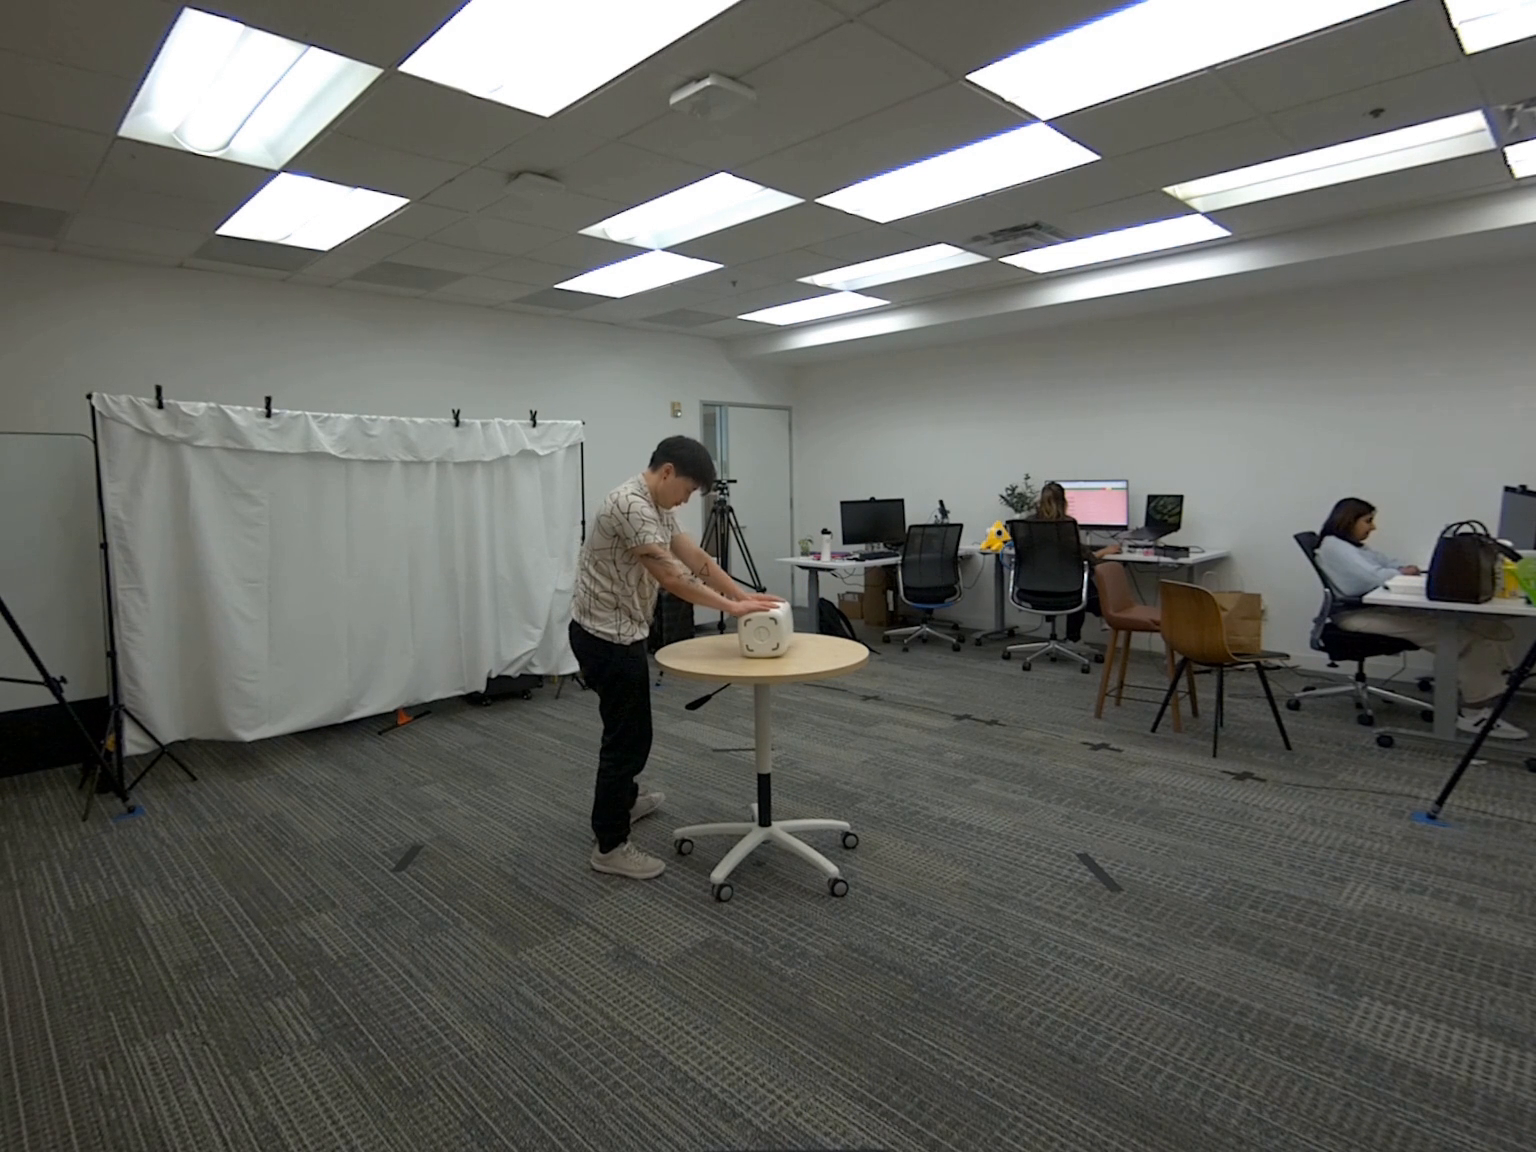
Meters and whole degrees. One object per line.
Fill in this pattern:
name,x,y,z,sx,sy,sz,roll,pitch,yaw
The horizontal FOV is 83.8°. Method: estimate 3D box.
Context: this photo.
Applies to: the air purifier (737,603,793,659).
air purifier,-0.009,0.178,3.057,0.173,0.171,0.263,-5,3,10
